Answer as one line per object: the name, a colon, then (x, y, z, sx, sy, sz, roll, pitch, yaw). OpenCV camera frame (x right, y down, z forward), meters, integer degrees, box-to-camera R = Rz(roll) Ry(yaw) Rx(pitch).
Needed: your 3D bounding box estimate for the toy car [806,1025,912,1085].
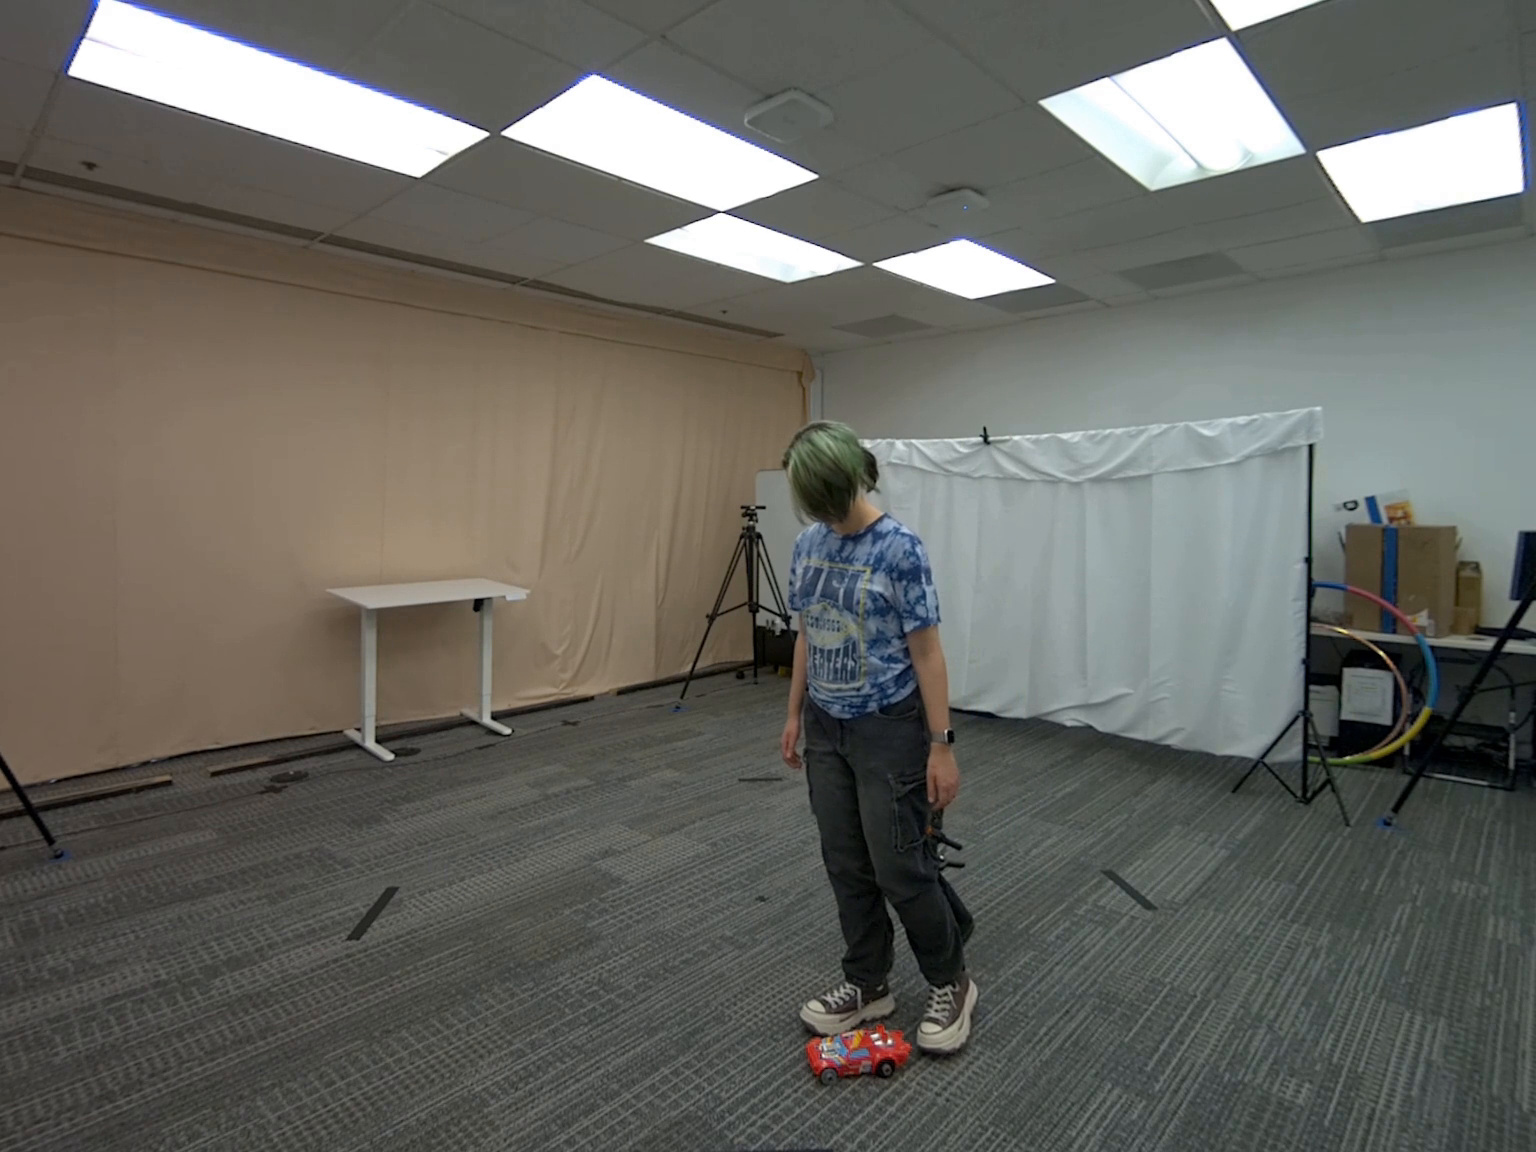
toy car: (0.231, 1.179, 2.099, 0.253, 0.083, 0.132, -10, 6, -7)
